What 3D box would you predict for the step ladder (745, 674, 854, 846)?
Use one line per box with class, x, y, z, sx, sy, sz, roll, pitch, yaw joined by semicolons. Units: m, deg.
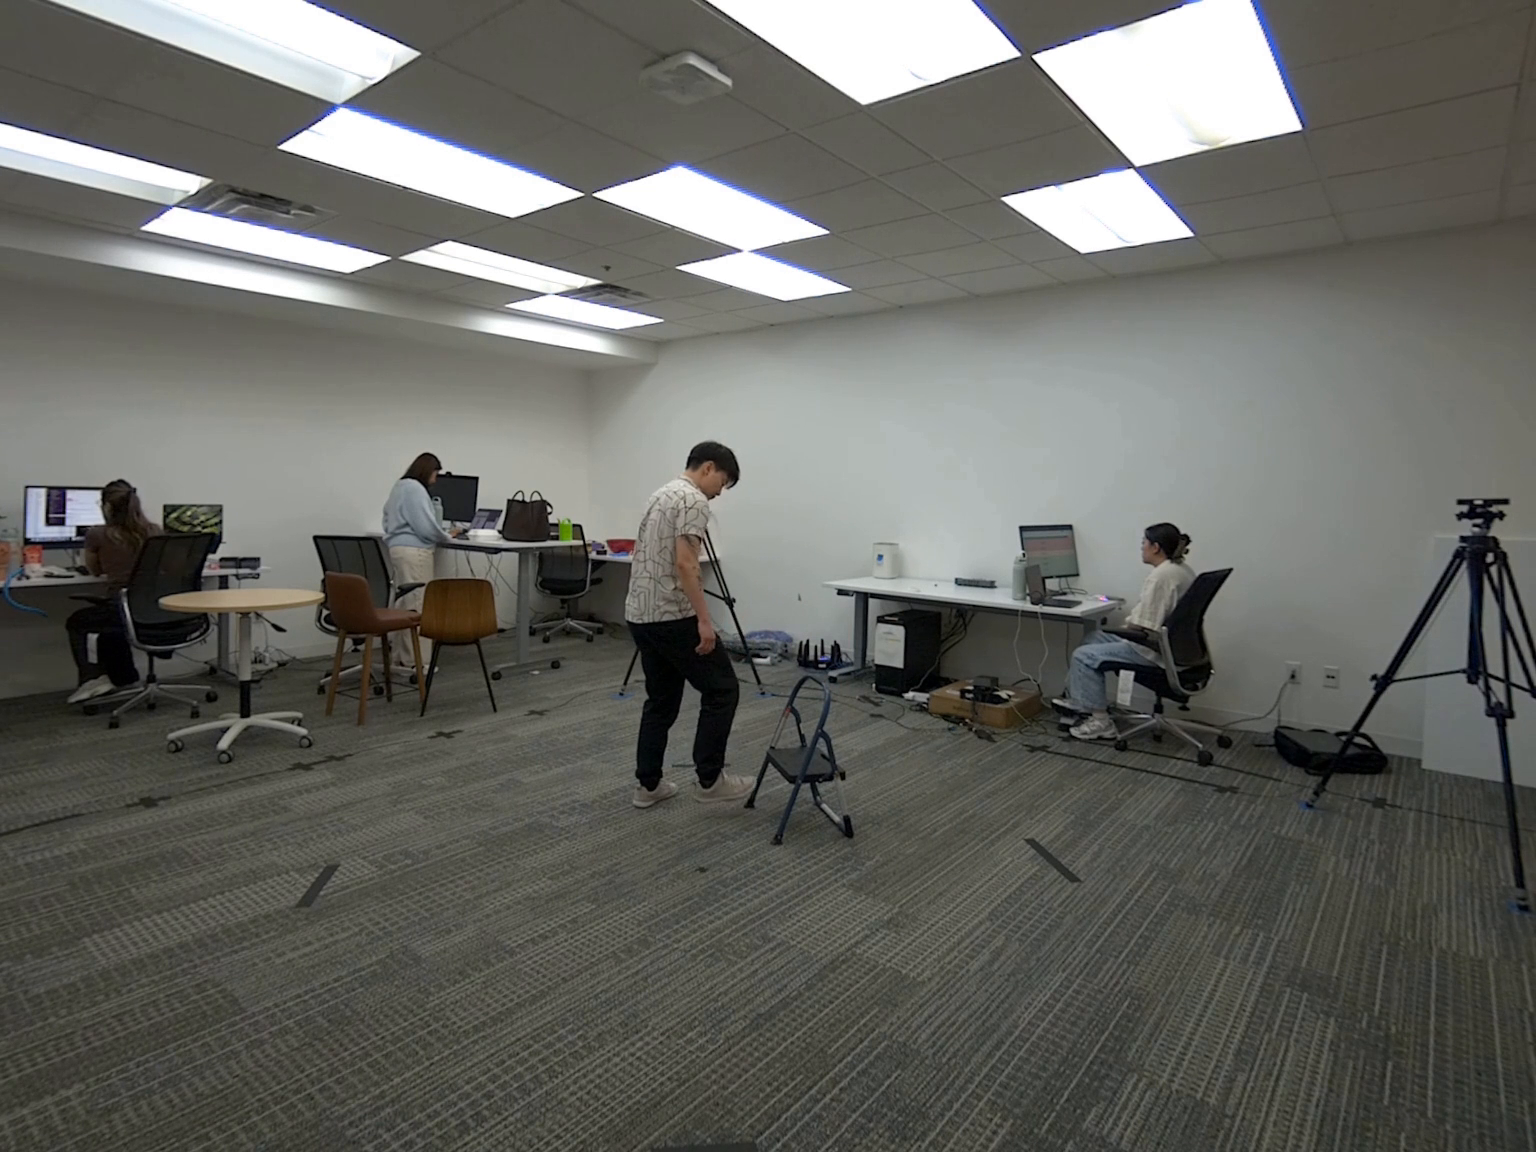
step ladder;0.133;0.732;3.567;0.344;0.604;0.439;1;4;-16
